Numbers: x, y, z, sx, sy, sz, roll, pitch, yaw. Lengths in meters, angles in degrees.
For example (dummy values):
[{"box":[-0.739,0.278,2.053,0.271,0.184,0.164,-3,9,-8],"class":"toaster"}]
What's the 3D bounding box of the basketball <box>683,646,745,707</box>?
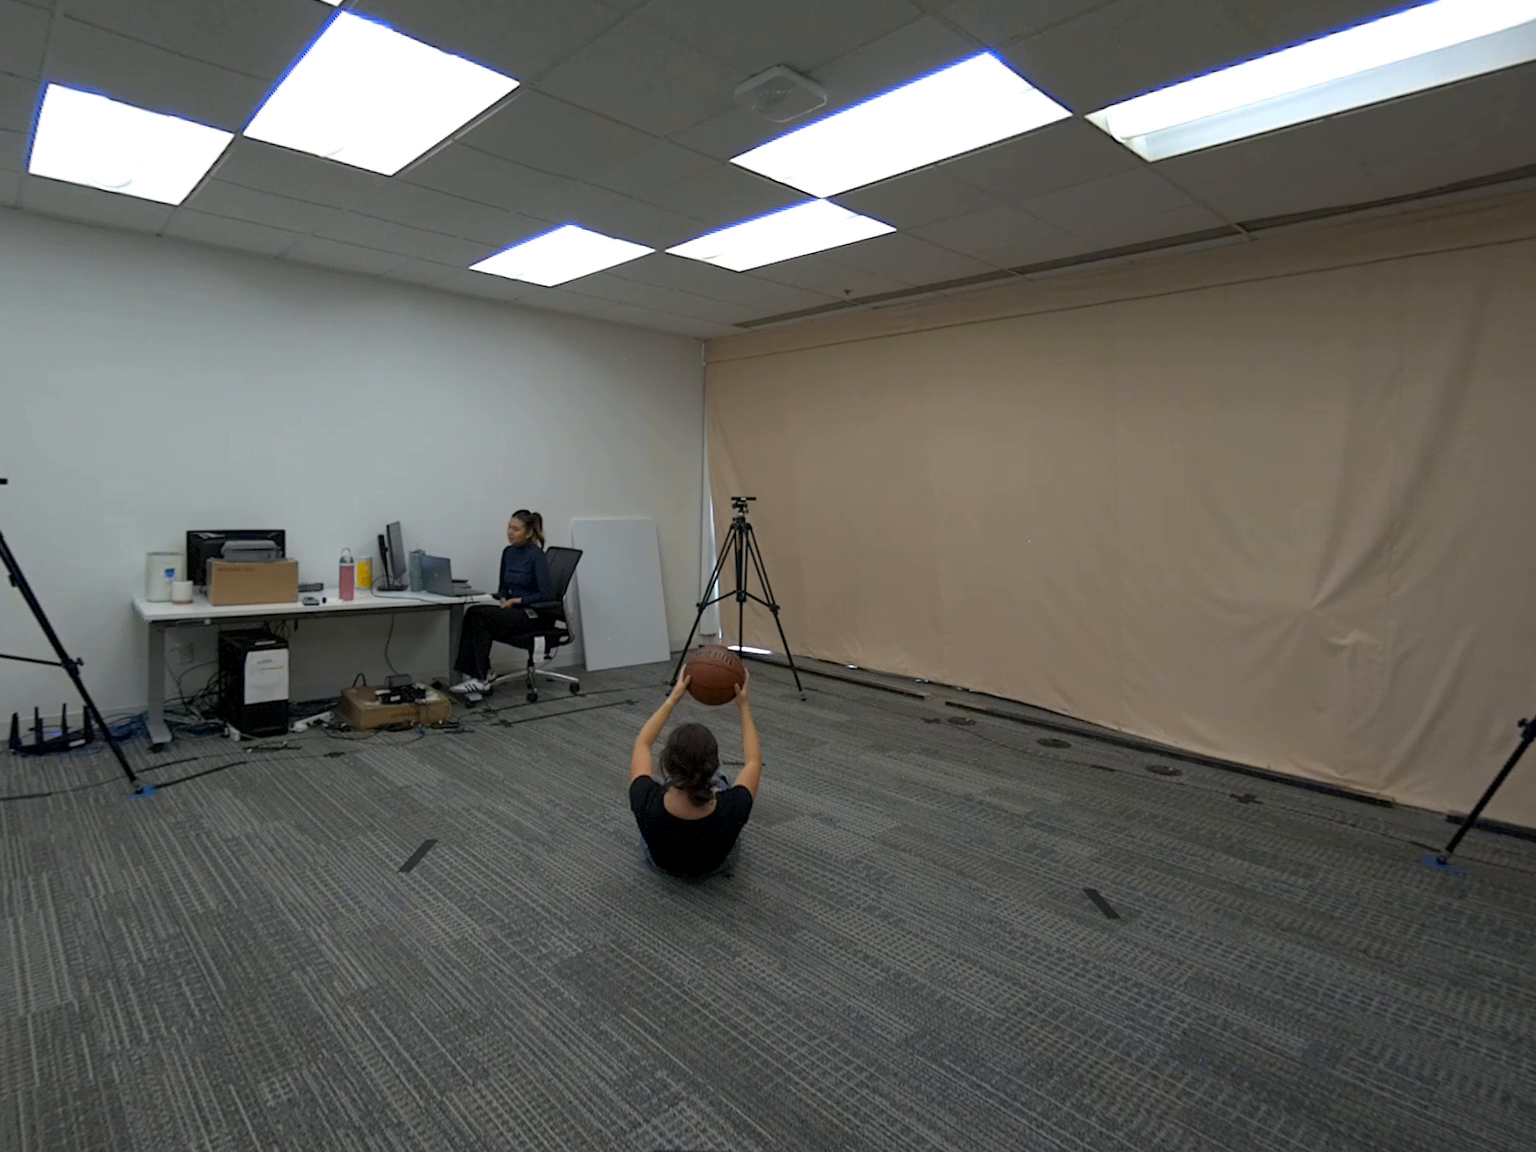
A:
[{"box":[-0.219,0.386,3.311,0.236,0.235,0.237,1,4,-1],"class":"basketball"}]
